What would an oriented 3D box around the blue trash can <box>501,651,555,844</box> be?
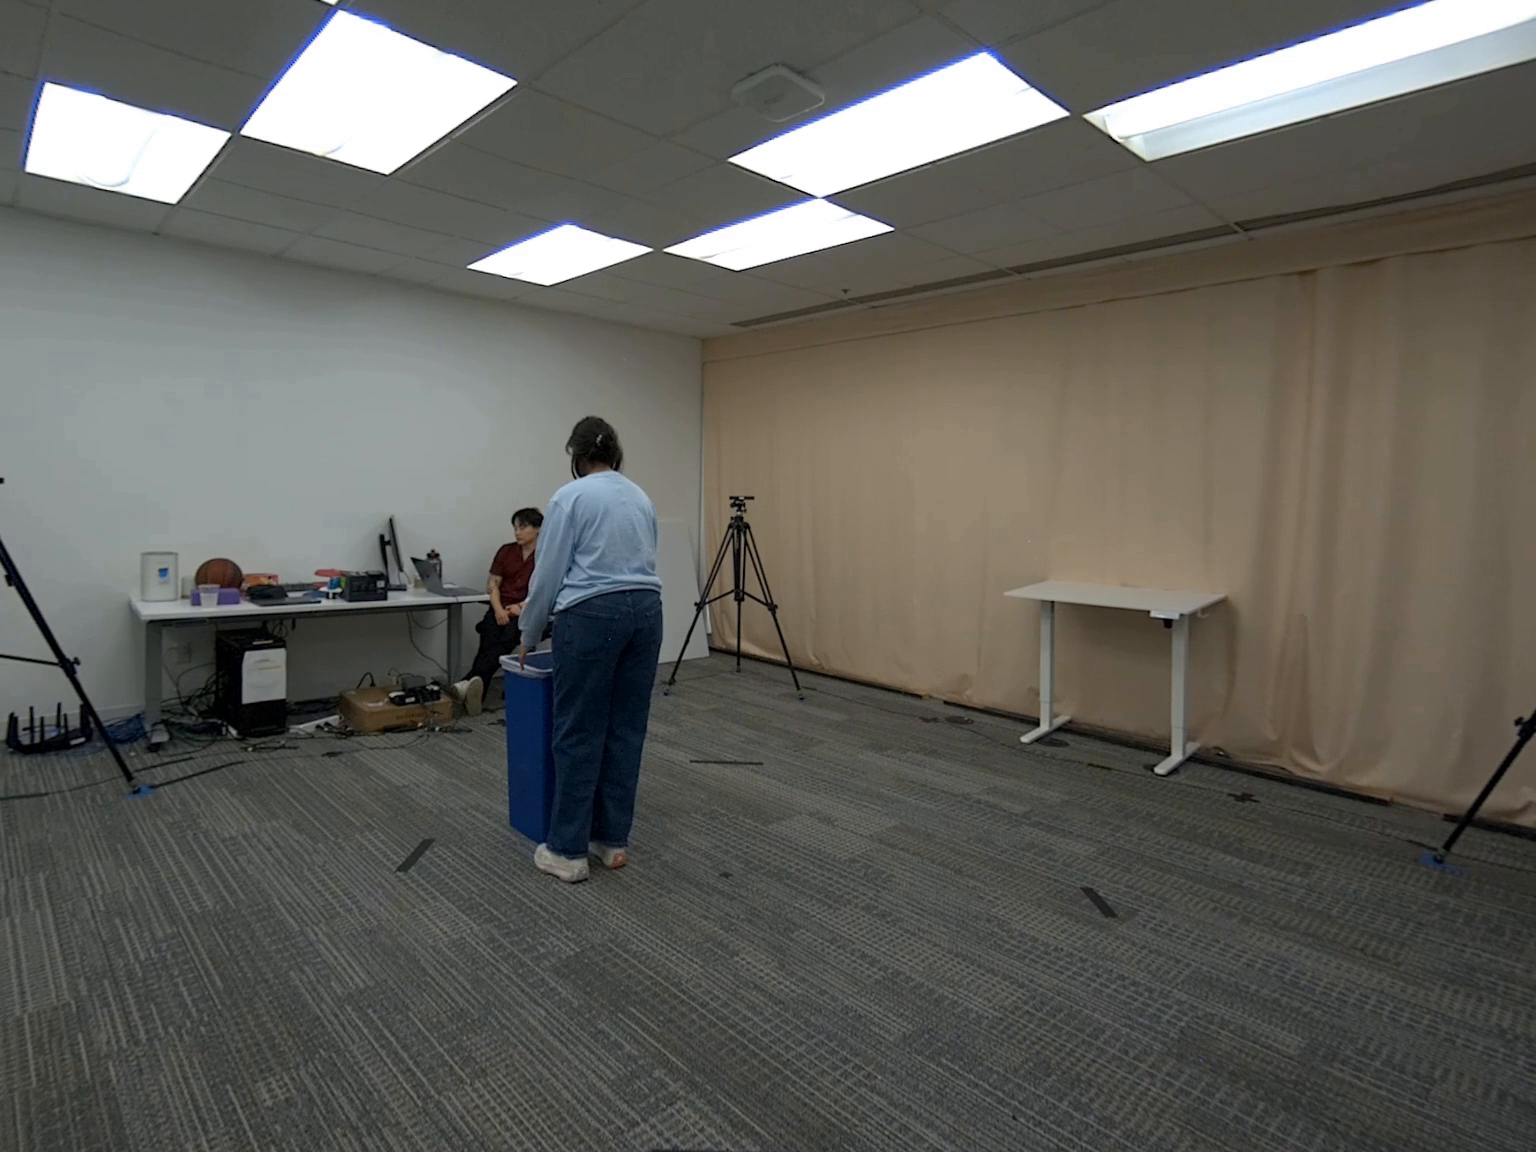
[{"bbox_3d":[-0.881,0.694,3.499,0.365,0.712,0.388,-1,4,-44],"label":"blue trash can"}]
